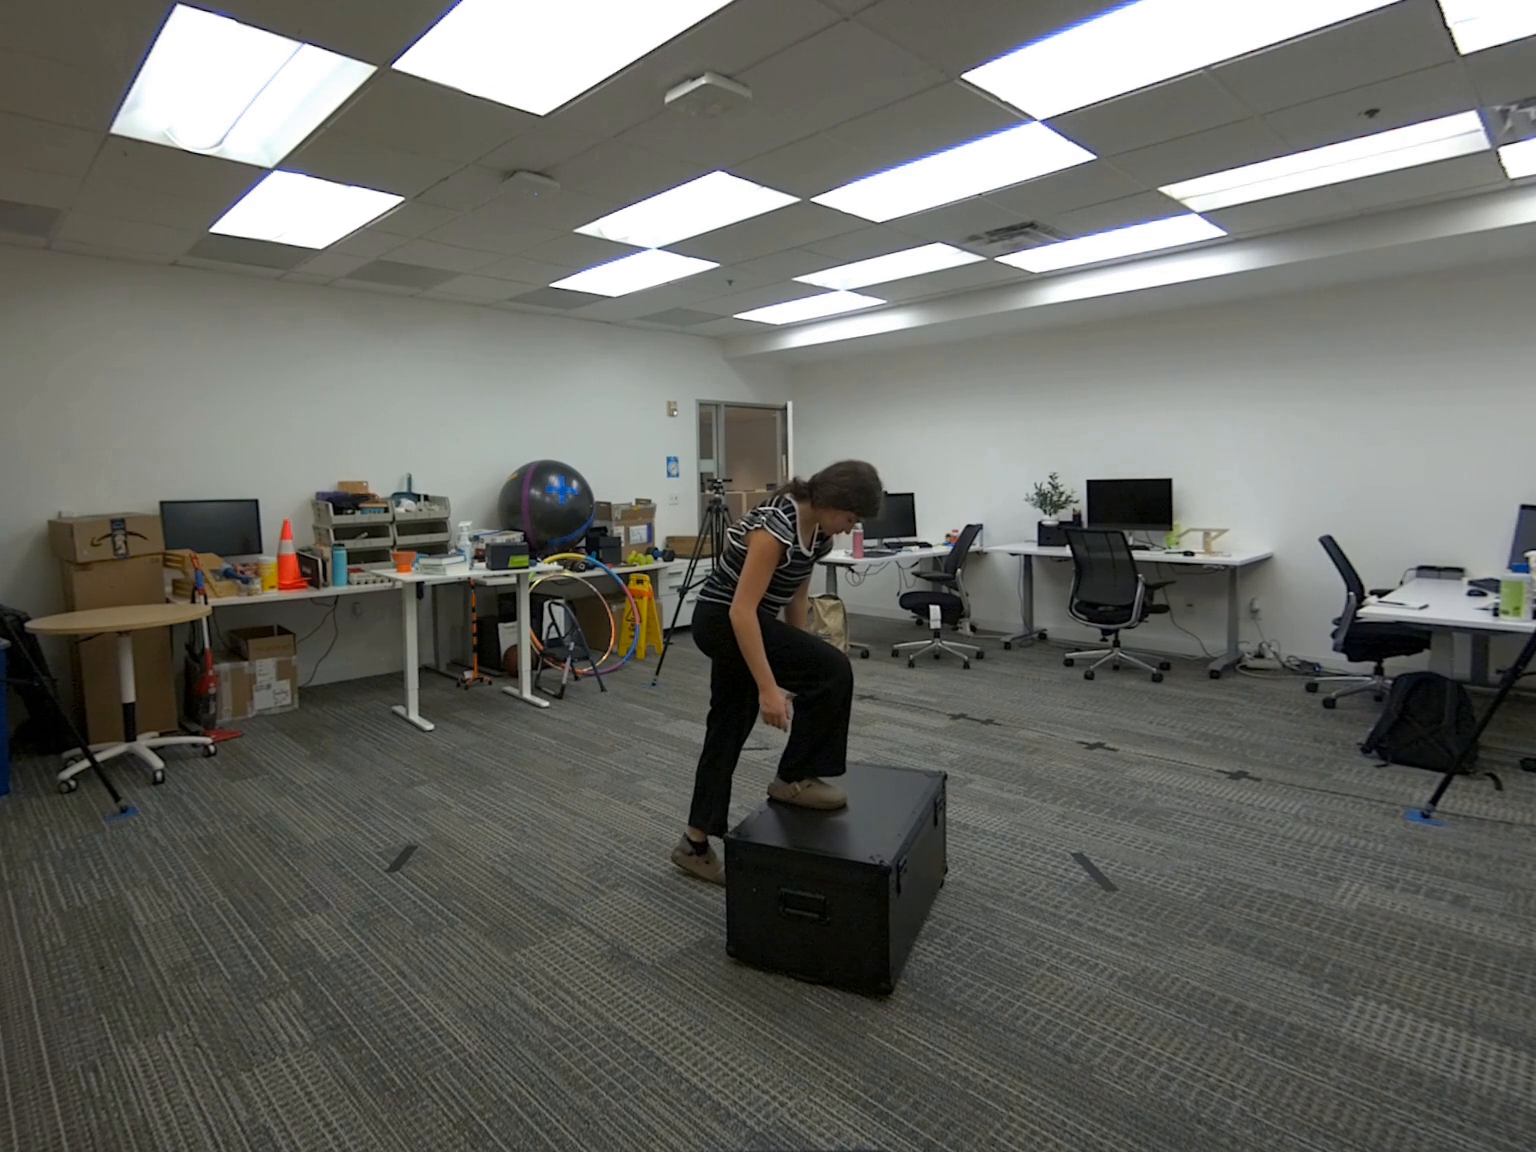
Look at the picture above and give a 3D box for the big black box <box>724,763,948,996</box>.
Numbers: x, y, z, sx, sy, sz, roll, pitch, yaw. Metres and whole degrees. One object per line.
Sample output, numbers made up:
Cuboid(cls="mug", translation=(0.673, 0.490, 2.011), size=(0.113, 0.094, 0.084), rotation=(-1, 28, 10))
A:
Cuboid(cls="big black box", translation=(0.264, 0.892, 2.730), size=(0.533, 0.394, 0.847), rotation=(0, 7, 24))
